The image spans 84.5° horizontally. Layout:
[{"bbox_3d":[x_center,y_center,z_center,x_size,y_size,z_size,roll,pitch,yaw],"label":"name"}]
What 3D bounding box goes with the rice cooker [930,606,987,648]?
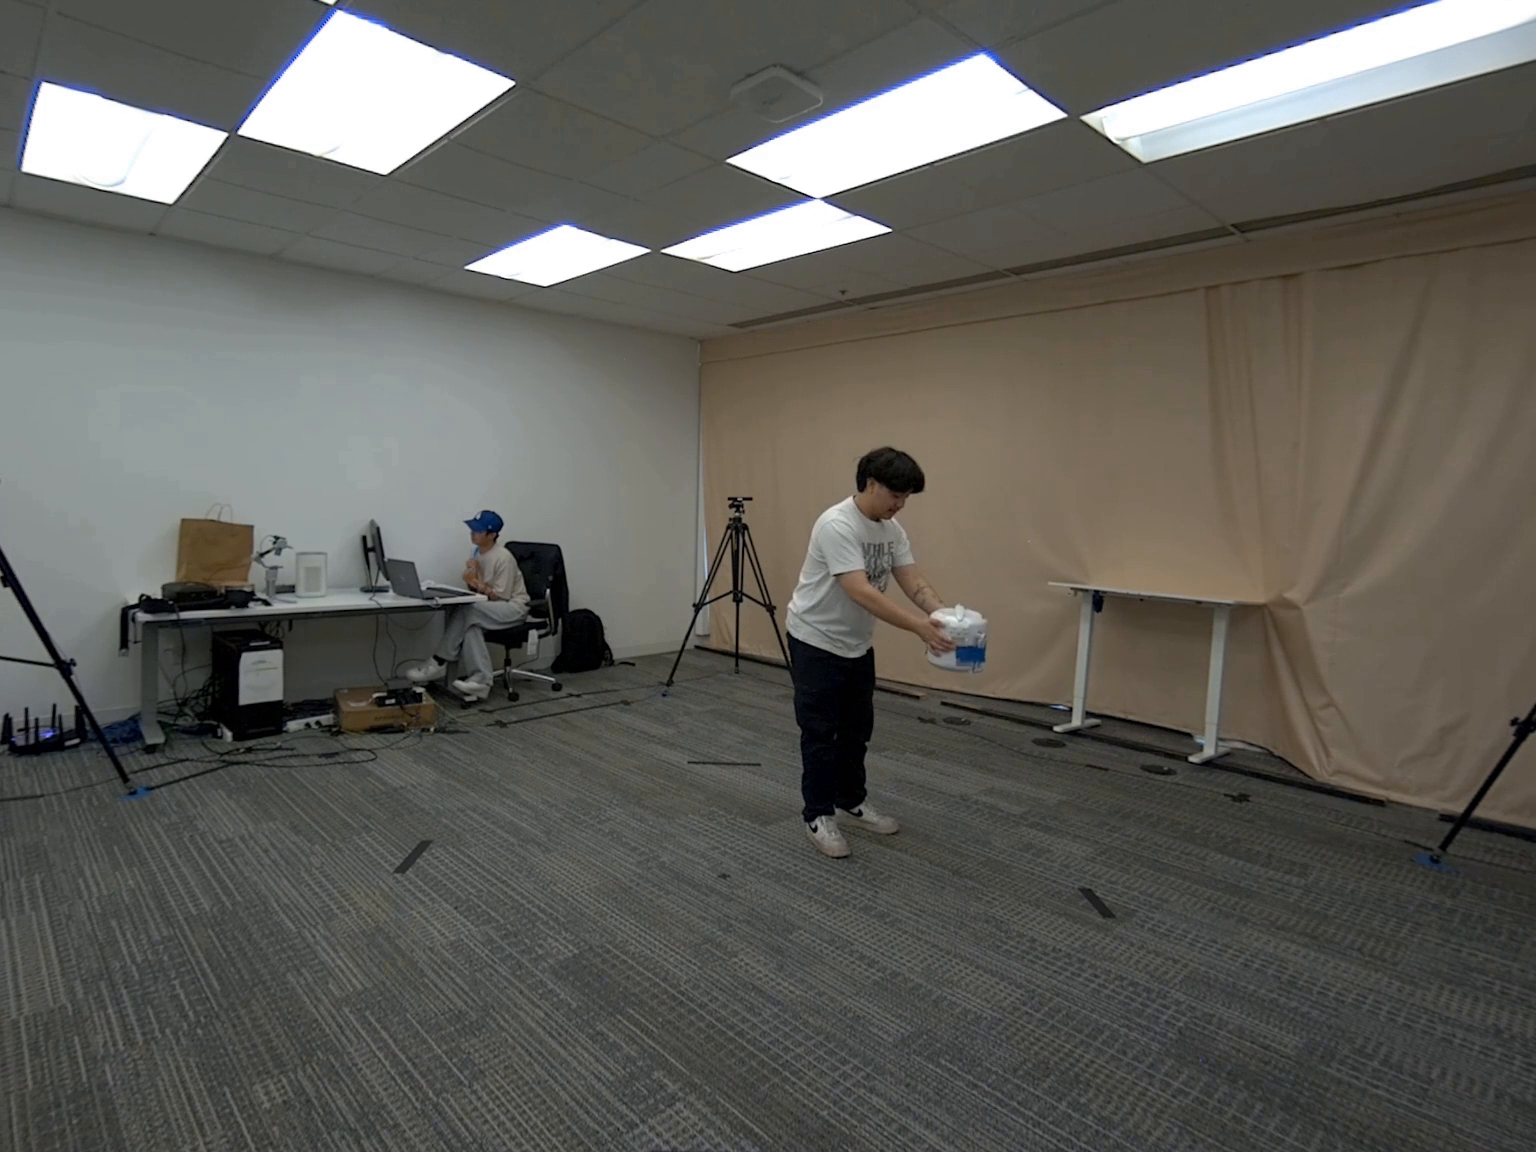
[{"bbox_3d":[0.693,0.227,3.139,0.220,0.231,0.219,7,10,13],"label":"rice cooker"}]
